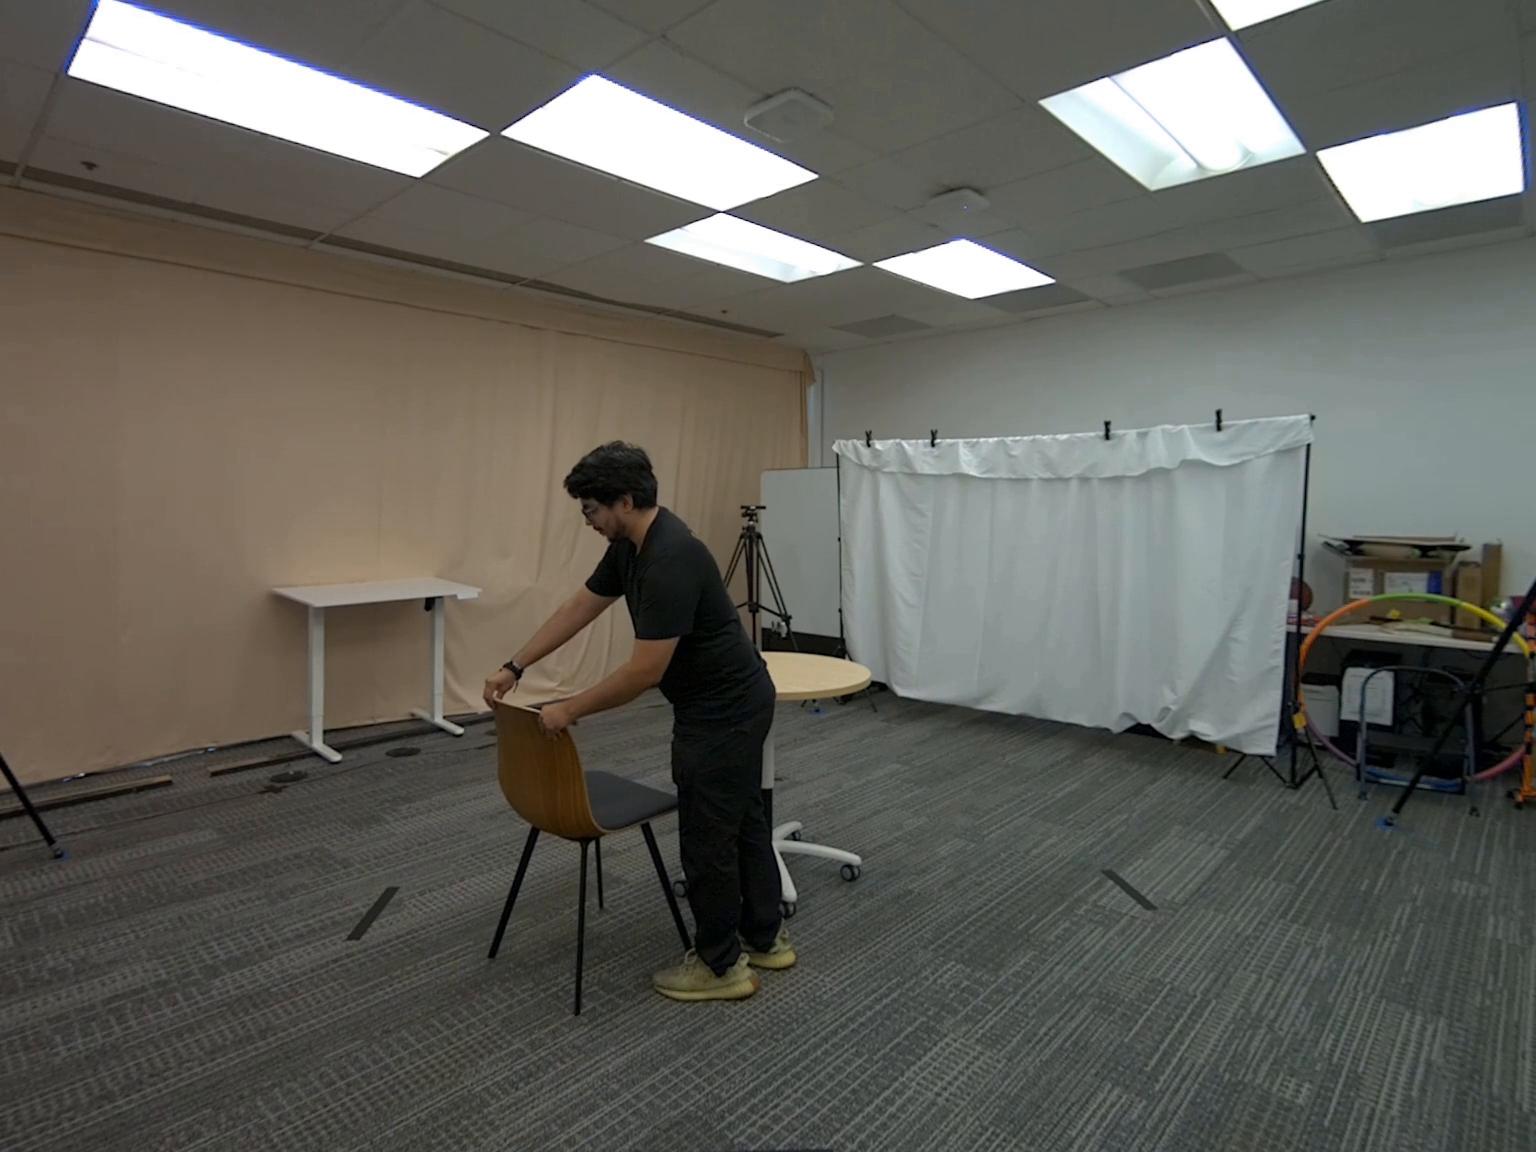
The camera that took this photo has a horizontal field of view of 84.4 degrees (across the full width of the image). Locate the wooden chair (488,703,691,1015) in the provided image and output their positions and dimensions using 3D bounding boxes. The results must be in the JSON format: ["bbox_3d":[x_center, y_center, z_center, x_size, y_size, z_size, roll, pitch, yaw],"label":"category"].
[{"bbox_3d":[-0.552,0.751,2.592,0.494,0.873,0.508,2,8,41],"label":"wooden chair"}]
